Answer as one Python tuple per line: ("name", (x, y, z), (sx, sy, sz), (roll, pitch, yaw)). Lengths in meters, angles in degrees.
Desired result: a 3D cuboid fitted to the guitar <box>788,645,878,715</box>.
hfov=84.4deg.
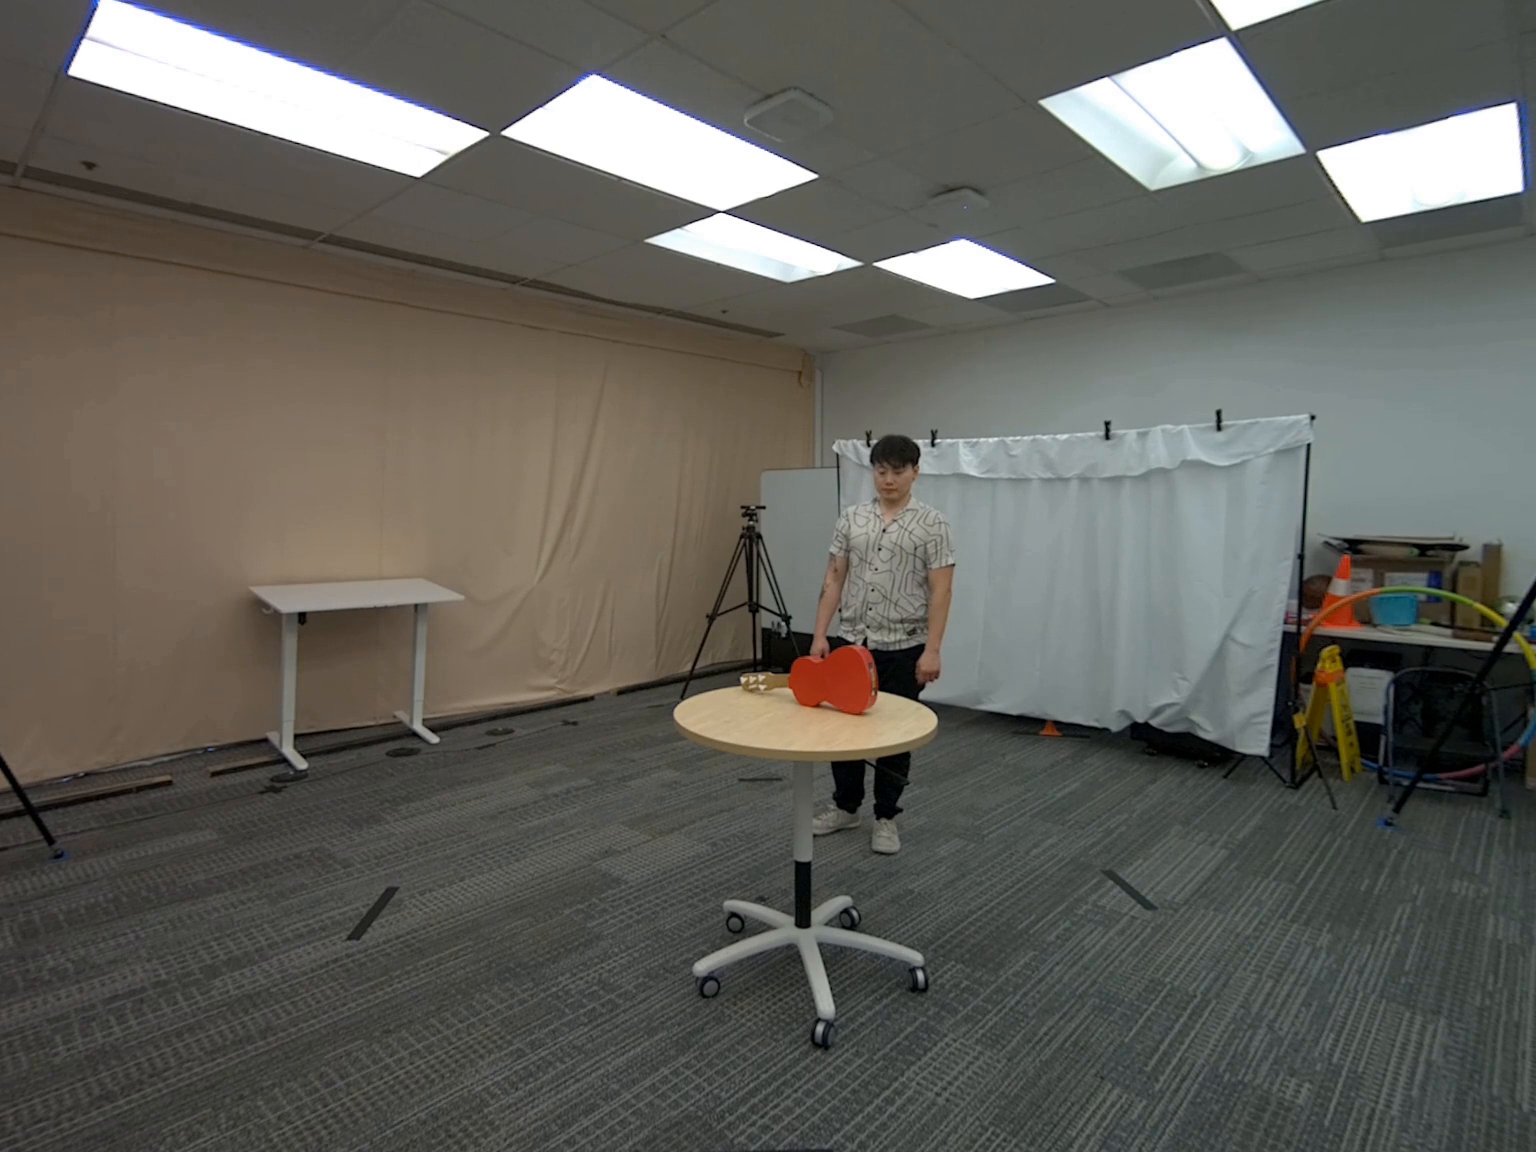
("guitar", (0.117, 0.351, 2.584), (0.509, 0.194, 0.068), (-19, -9, 36))
